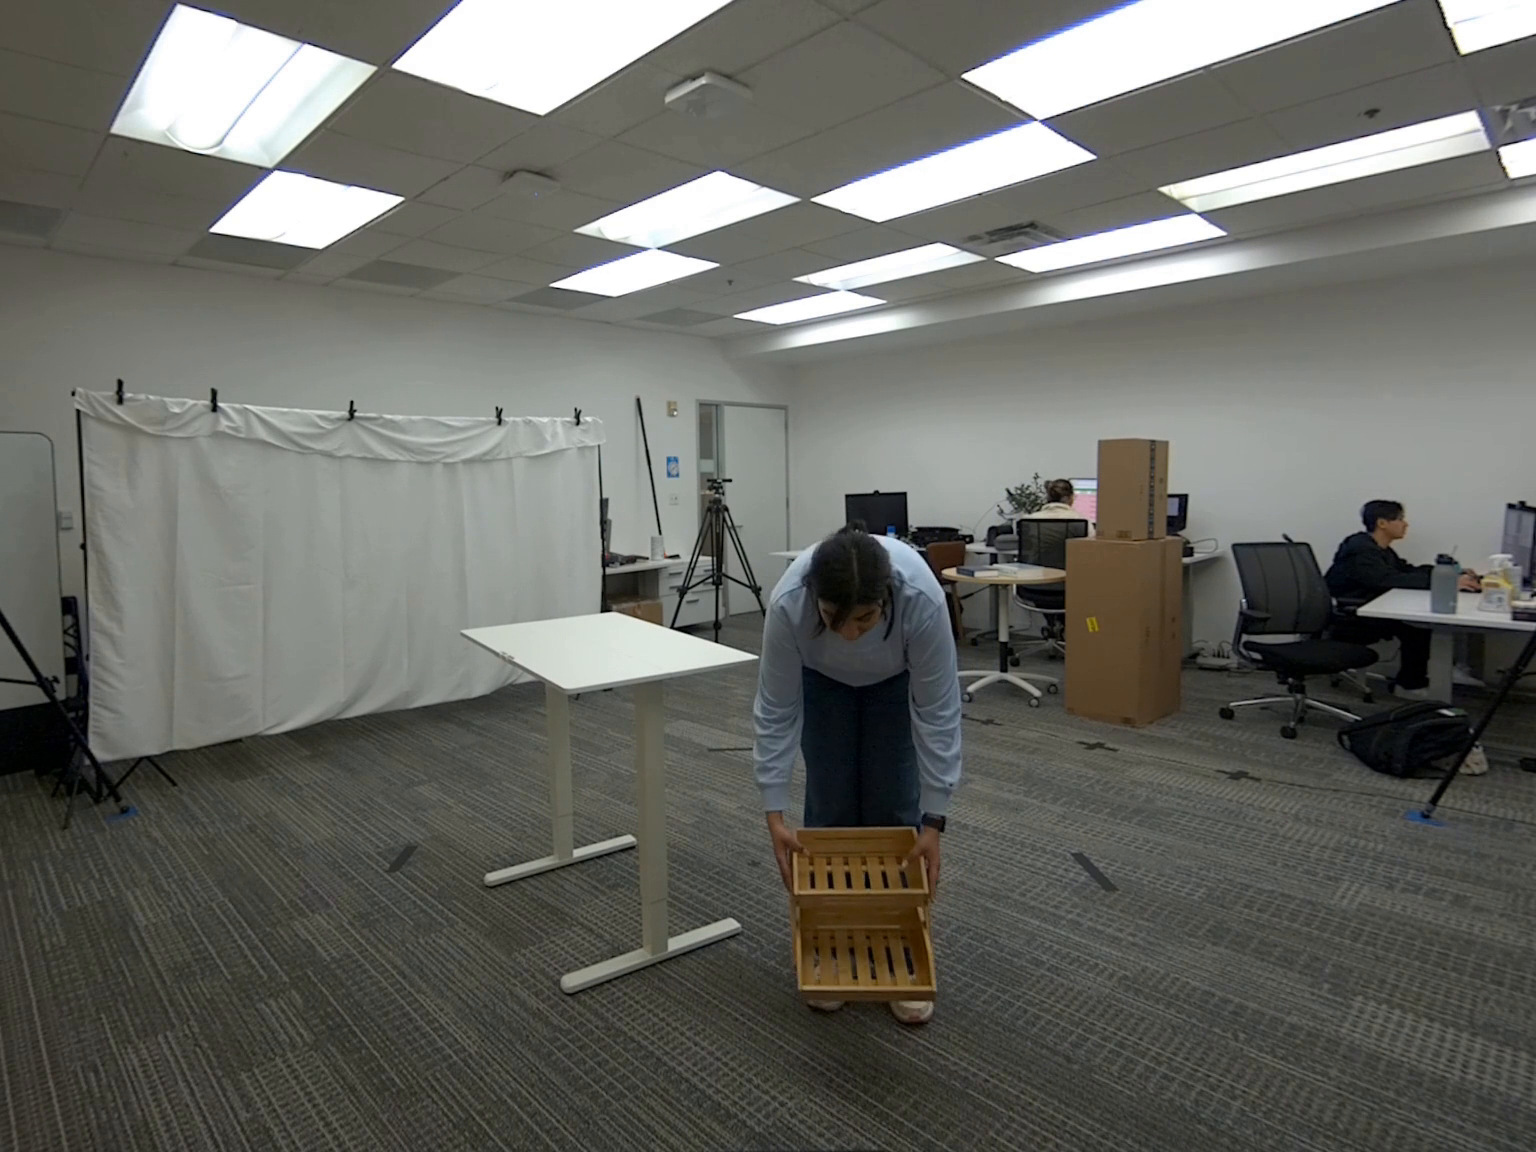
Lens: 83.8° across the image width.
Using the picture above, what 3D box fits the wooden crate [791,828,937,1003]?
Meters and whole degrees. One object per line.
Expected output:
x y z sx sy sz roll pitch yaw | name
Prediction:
0.220 0.778 1.986 0.325 0.270 0.304 -3 12 2 | wooden crate
